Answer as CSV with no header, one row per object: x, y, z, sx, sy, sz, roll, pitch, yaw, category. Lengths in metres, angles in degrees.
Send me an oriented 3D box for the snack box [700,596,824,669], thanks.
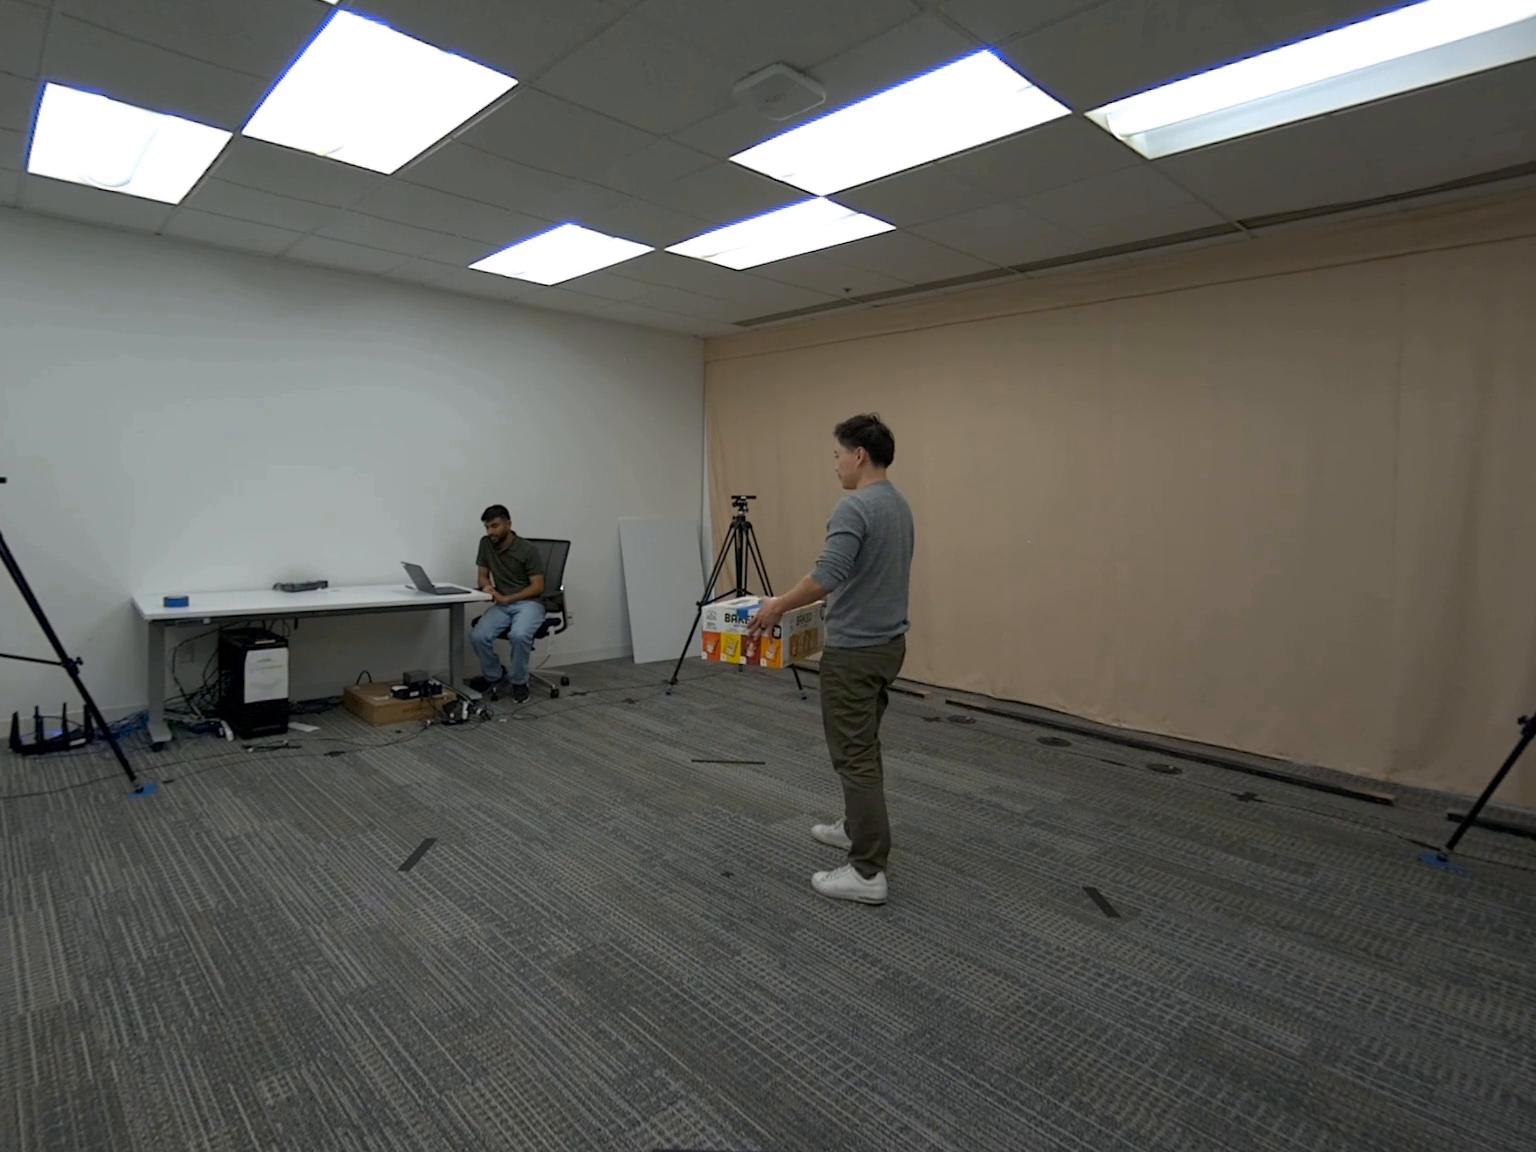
-0.017,0.198,3.283,0.347,0.205,0.398,3,7,27,snack box
